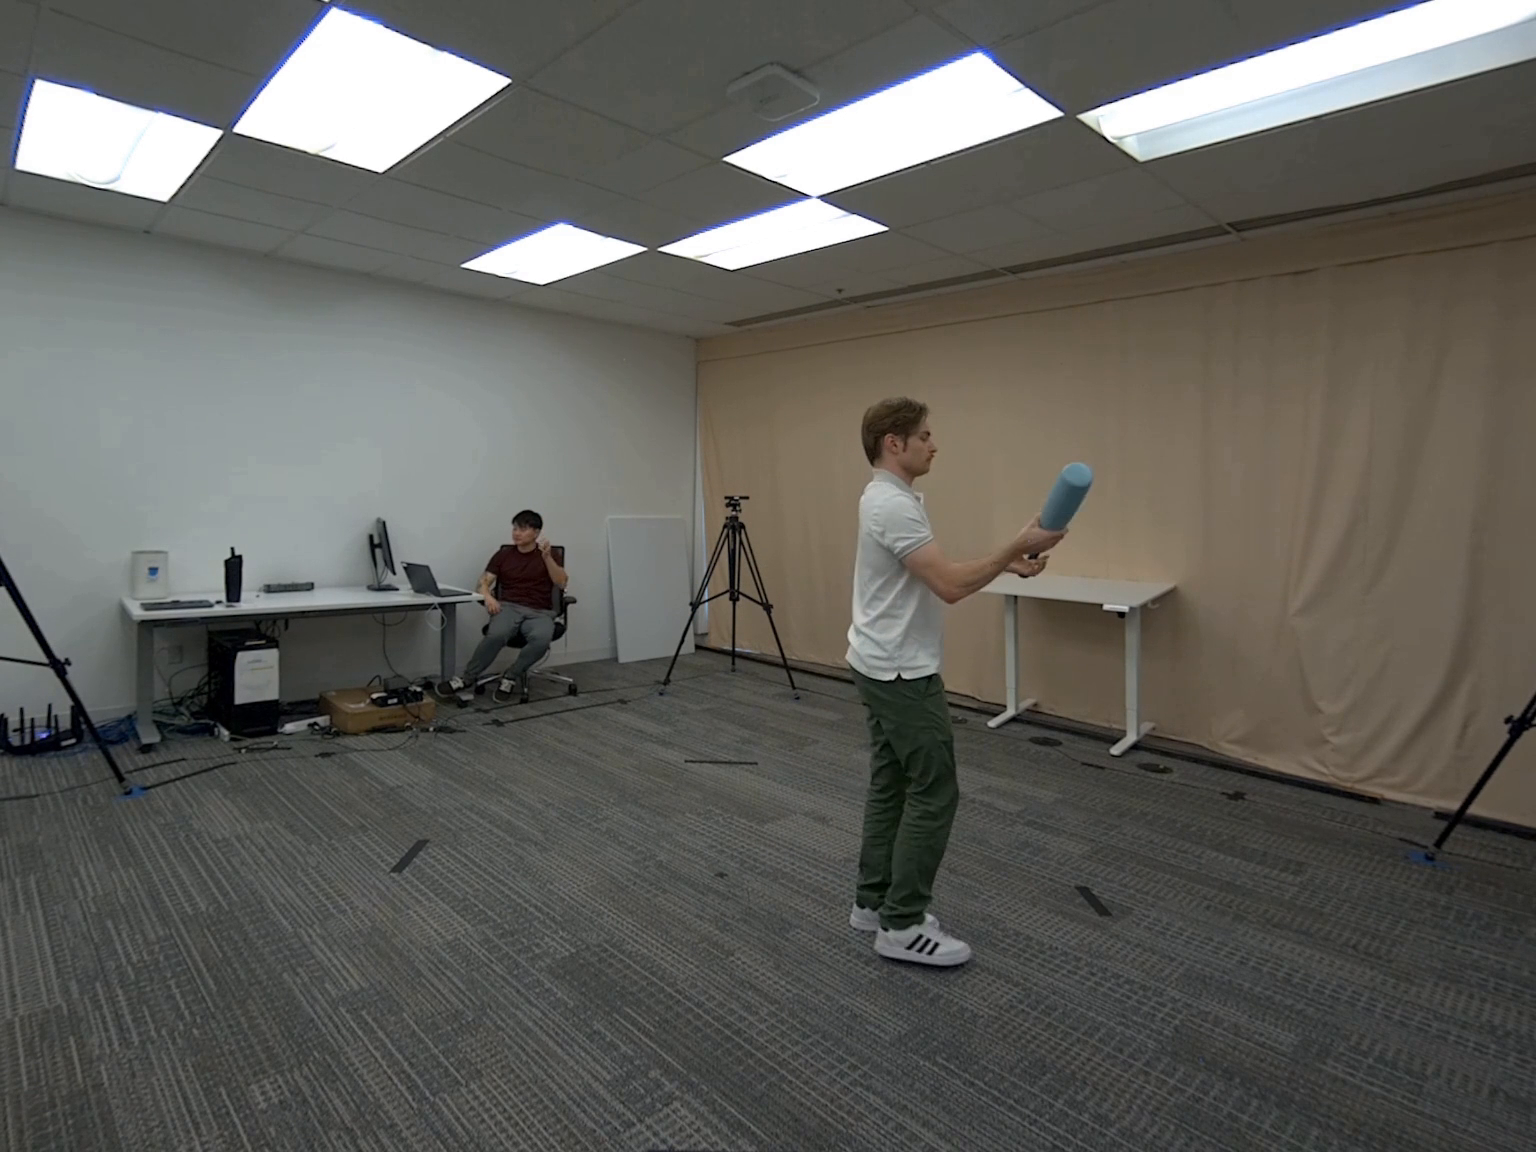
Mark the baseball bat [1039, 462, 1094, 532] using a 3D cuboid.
[{"bbox_3d":[0.822,-0.144,2.492,0.089,0.091,0.532,2,-30,1],"label":"baseball bat"}]
